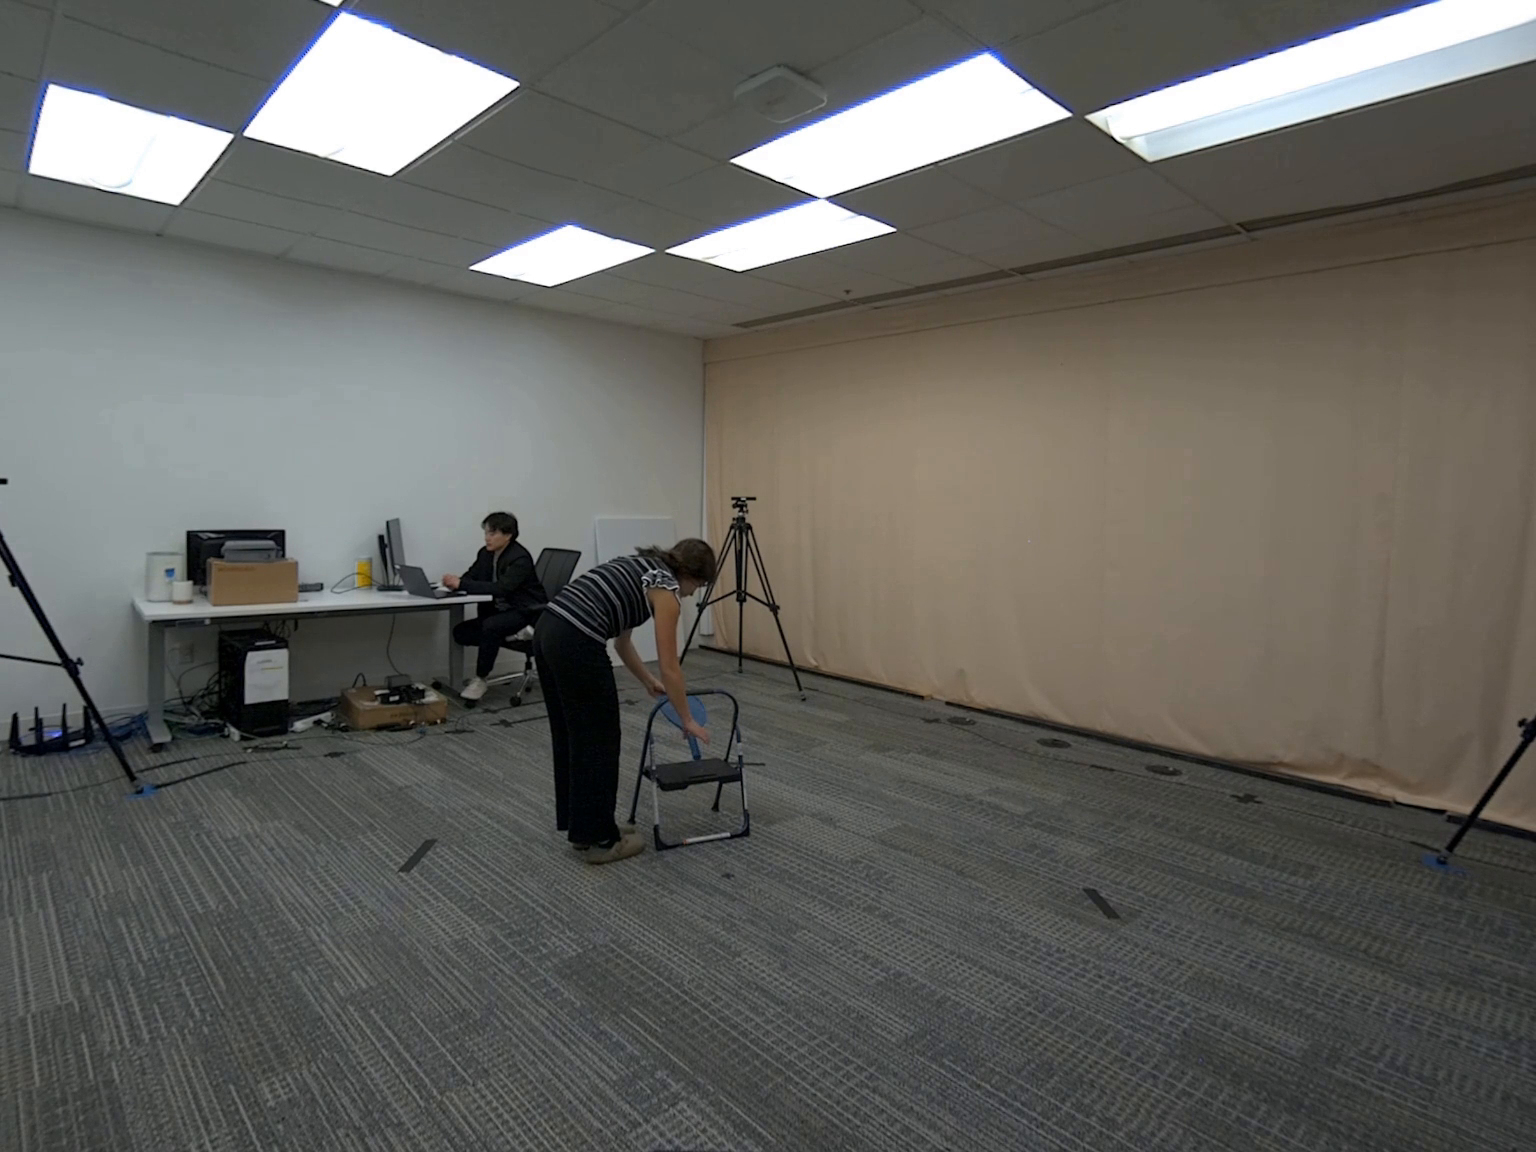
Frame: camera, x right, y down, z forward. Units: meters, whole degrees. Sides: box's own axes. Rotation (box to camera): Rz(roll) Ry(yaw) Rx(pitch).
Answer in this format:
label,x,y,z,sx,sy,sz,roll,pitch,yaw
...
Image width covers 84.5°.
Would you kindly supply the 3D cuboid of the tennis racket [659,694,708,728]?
label,x,y,z,sx,sy,sz,roll,pitch,yaw
tennis racket,-0.369,0.621,3.521,0.211,0.031,0.443,10,29,-15
